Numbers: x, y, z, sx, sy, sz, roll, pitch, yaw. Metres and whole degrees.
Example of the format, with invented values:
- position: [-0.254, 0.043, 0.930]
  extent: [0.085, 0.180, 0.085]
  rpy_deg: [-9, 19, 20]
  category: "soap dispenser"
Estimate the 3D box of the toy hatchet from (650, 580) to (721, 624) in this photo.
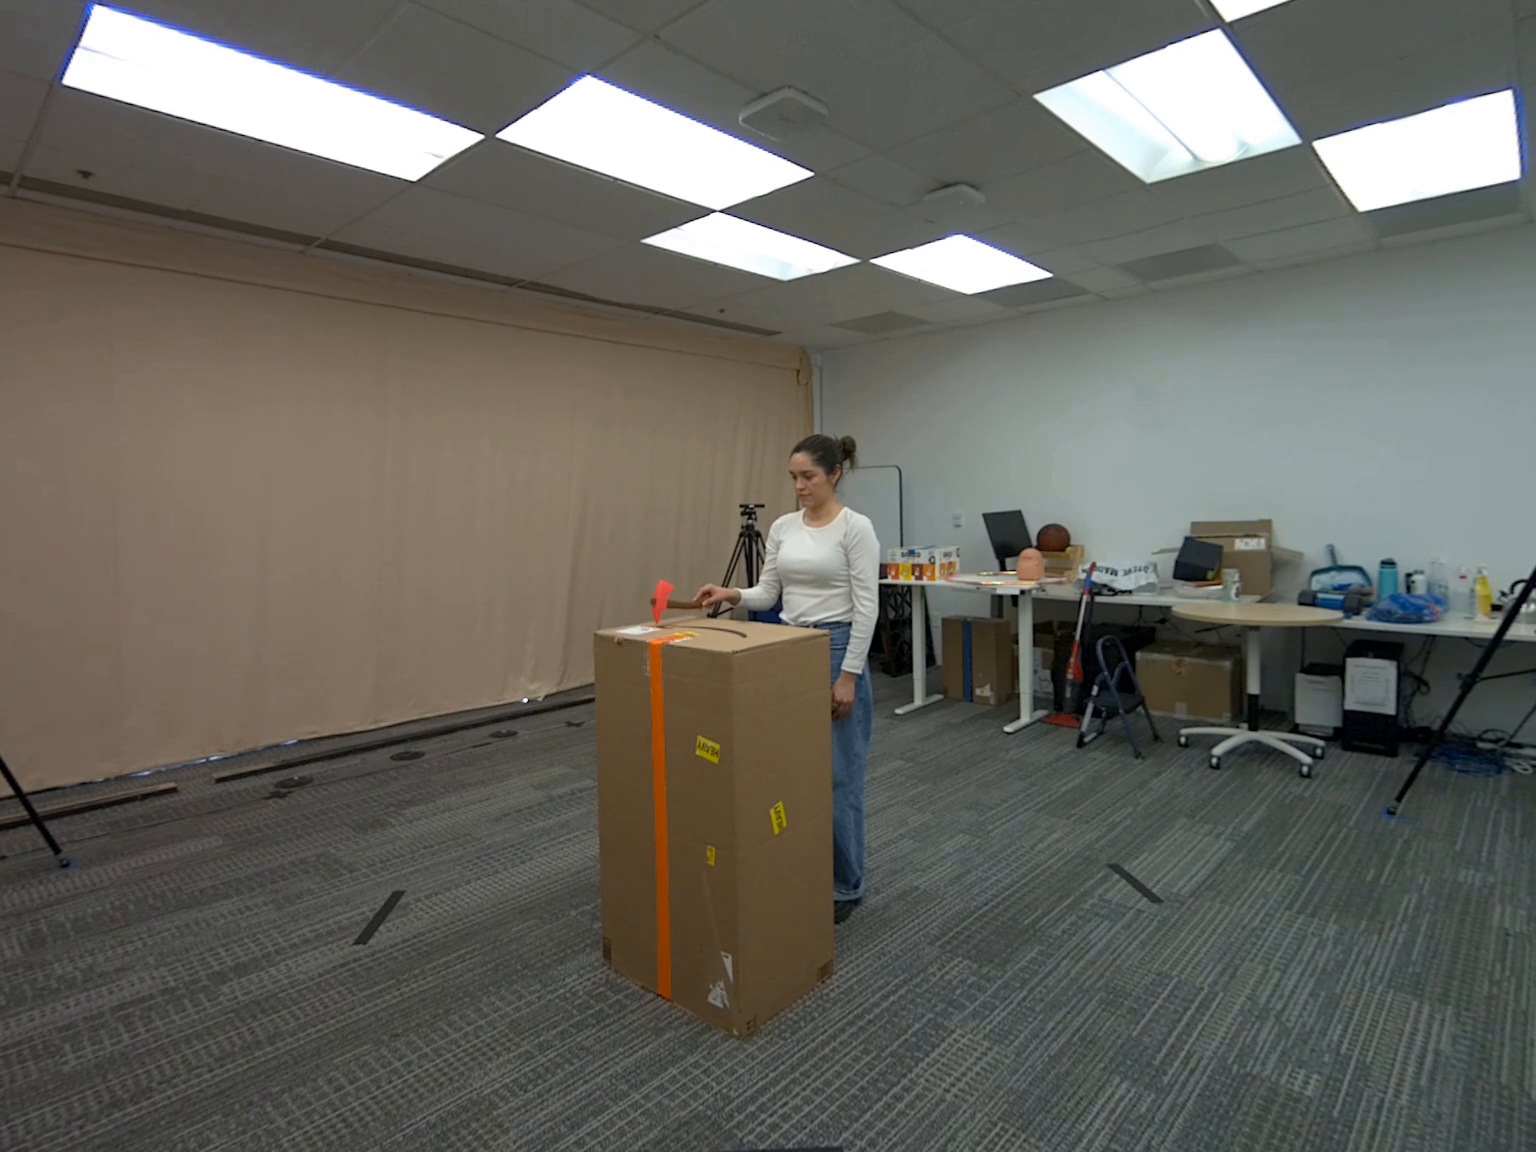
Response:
- position: [-0.274, 0.059, 2.705]
  extent: [0.030, 0.130, 0.263]
  rpy_deg: [-2, 9, 44]
  category: "toy hatchet"
